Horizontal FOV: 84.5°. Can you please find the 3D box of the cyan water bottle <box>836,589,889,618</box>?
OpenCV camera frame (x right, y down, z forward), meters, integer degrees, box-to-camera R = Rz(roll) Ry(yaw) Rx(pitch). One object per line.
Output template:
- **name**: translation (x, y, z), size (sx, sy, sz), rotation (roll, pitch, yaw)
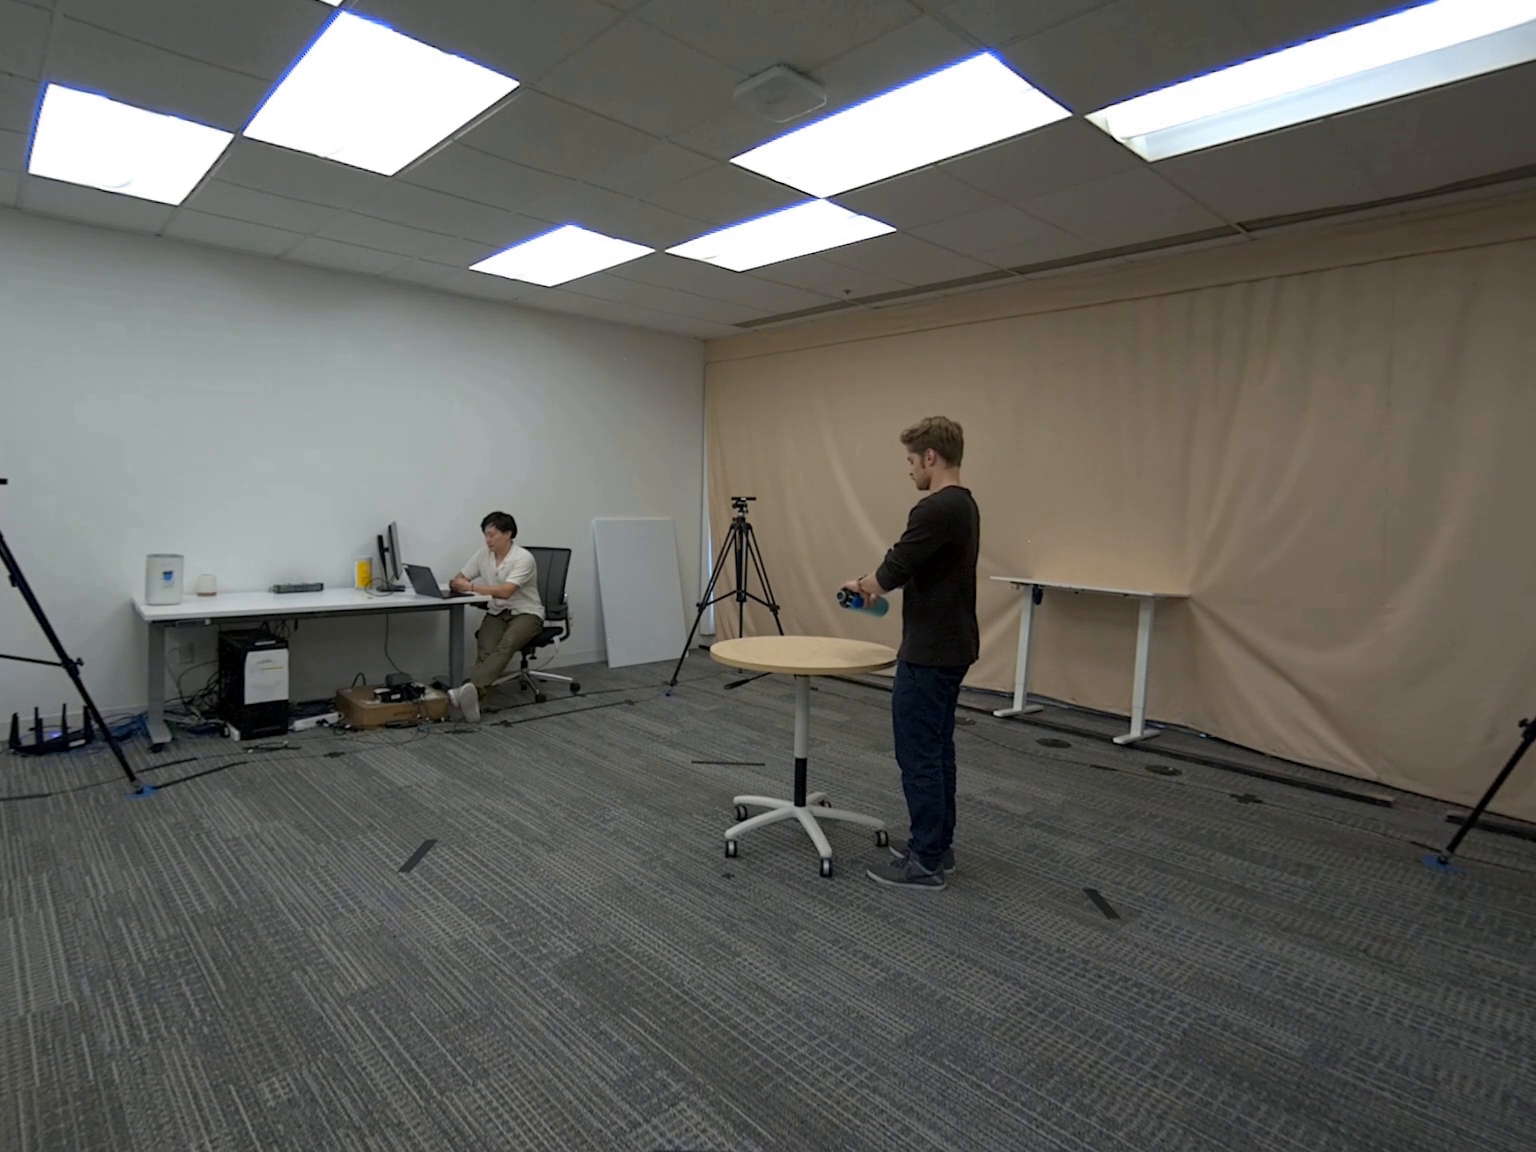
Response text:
- **cyan water bottle**: translation (0.376, 0.106, 3.350), size (0.094, 0.092, 0.276), rotation (5, -5, 37)
